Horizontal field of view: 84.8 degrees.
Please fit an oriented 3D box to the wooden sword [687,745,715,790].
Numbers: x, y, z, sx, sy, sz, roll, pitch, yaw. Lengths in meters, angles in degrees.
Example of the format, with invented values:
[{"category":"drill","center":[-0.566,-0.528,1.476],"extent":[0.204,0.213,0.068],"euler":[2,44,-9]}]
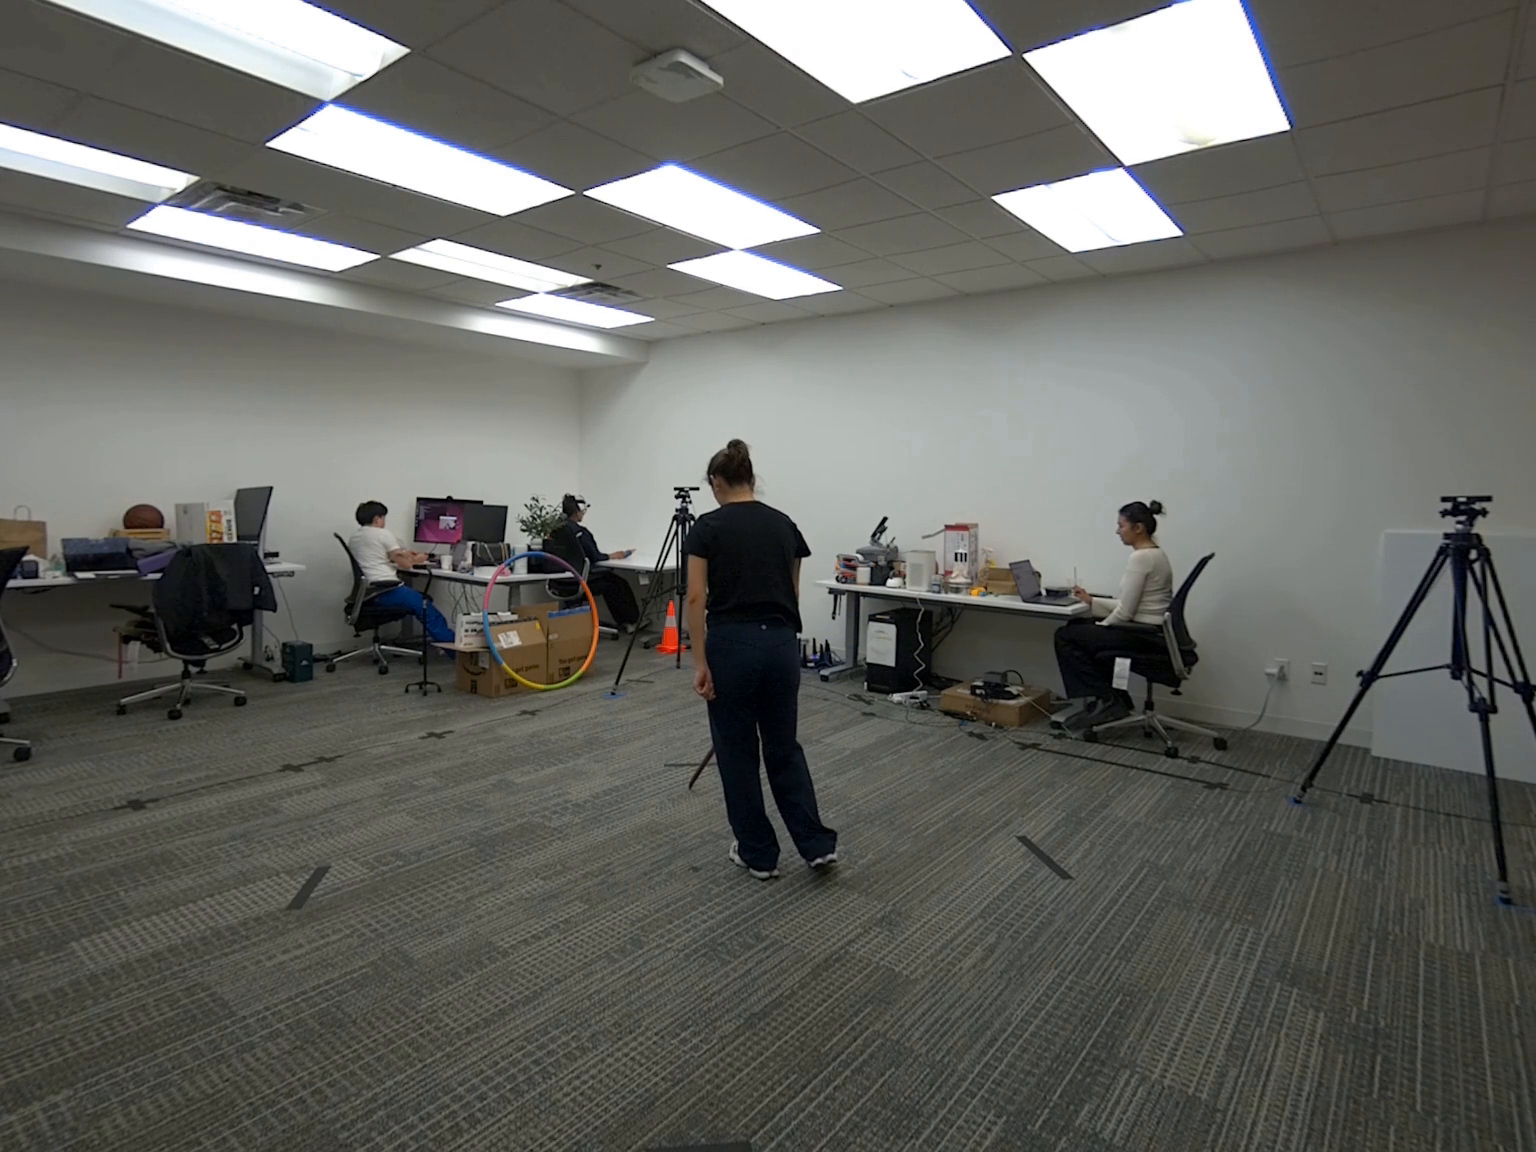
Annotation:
[{"category":"wooden sword","center":[-0.149,0.633,3.614],"extent":[0.052,1.014,0.024],"euler":[41,43,11]}]
